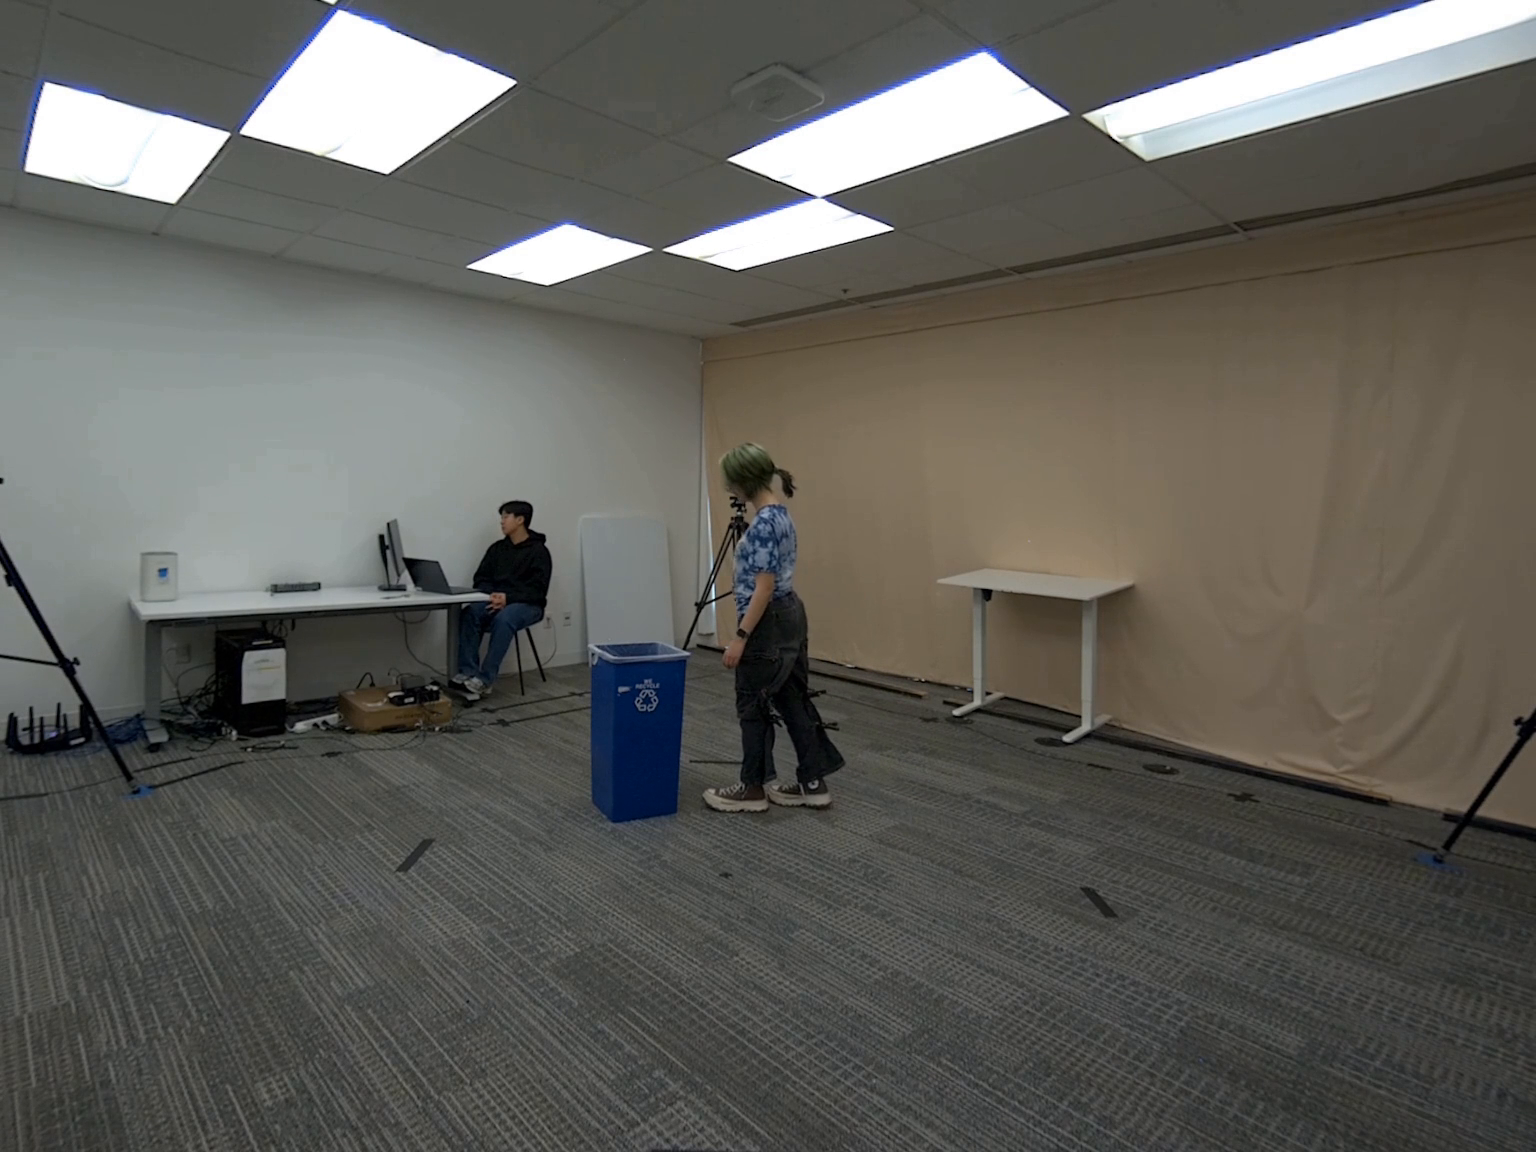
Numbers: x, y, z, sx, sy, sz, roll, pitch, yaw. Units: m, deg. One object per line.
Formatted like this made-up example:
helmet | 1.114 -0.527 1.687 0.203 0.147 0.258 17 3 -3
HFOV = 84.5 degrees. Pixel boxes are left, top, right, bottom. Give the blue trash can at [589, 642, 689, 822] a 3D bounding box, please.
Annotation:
blue trash can | -0.594 0.678 3.761 0.366 0.712 0.386 0 4 -30
